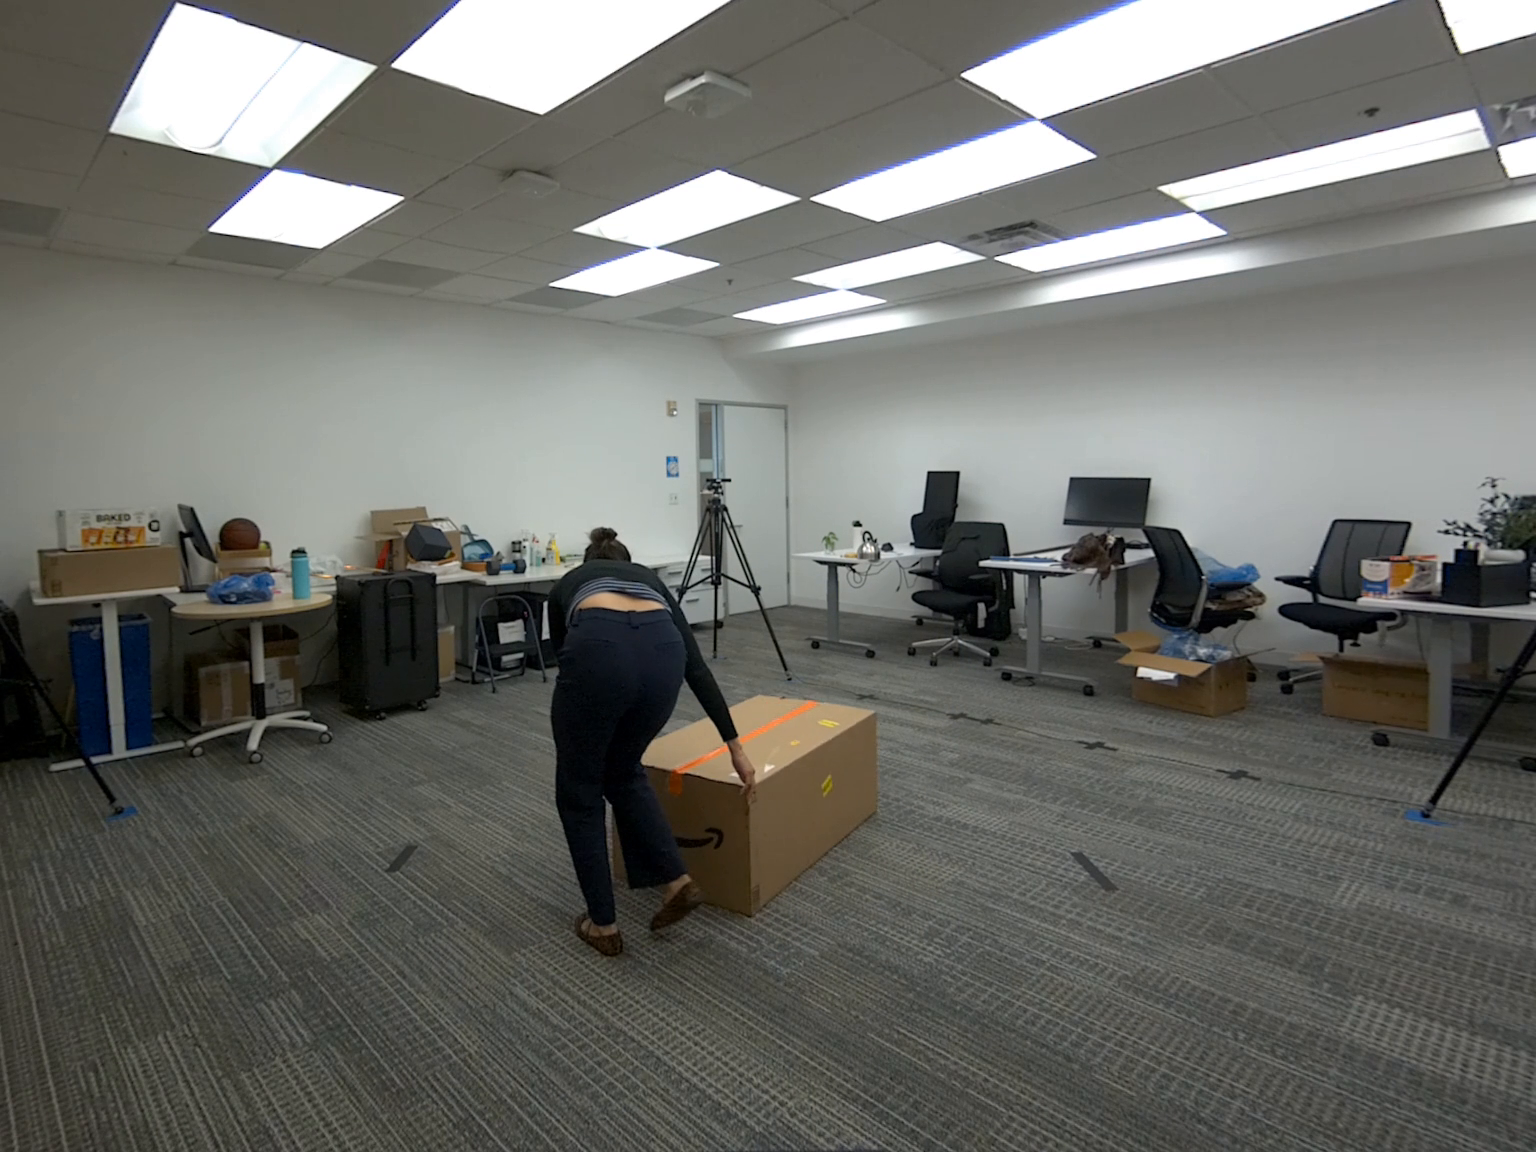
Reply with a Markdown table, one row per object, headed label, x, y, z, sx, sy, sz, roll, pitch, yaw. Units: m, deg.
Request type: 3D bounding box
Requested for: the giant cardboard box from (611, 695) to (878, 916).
| label | x | y | z | sx | sy | sz | roll | pitch | yaw |
| --- | --- | --- | --- | --- | --- | --- | --- | --- | --- |
| giant cardboard box | -0.048 | 0.807 | 3.288 | 0.593 | 0.424 | 1.003 | 3 | 7 | 31 |
